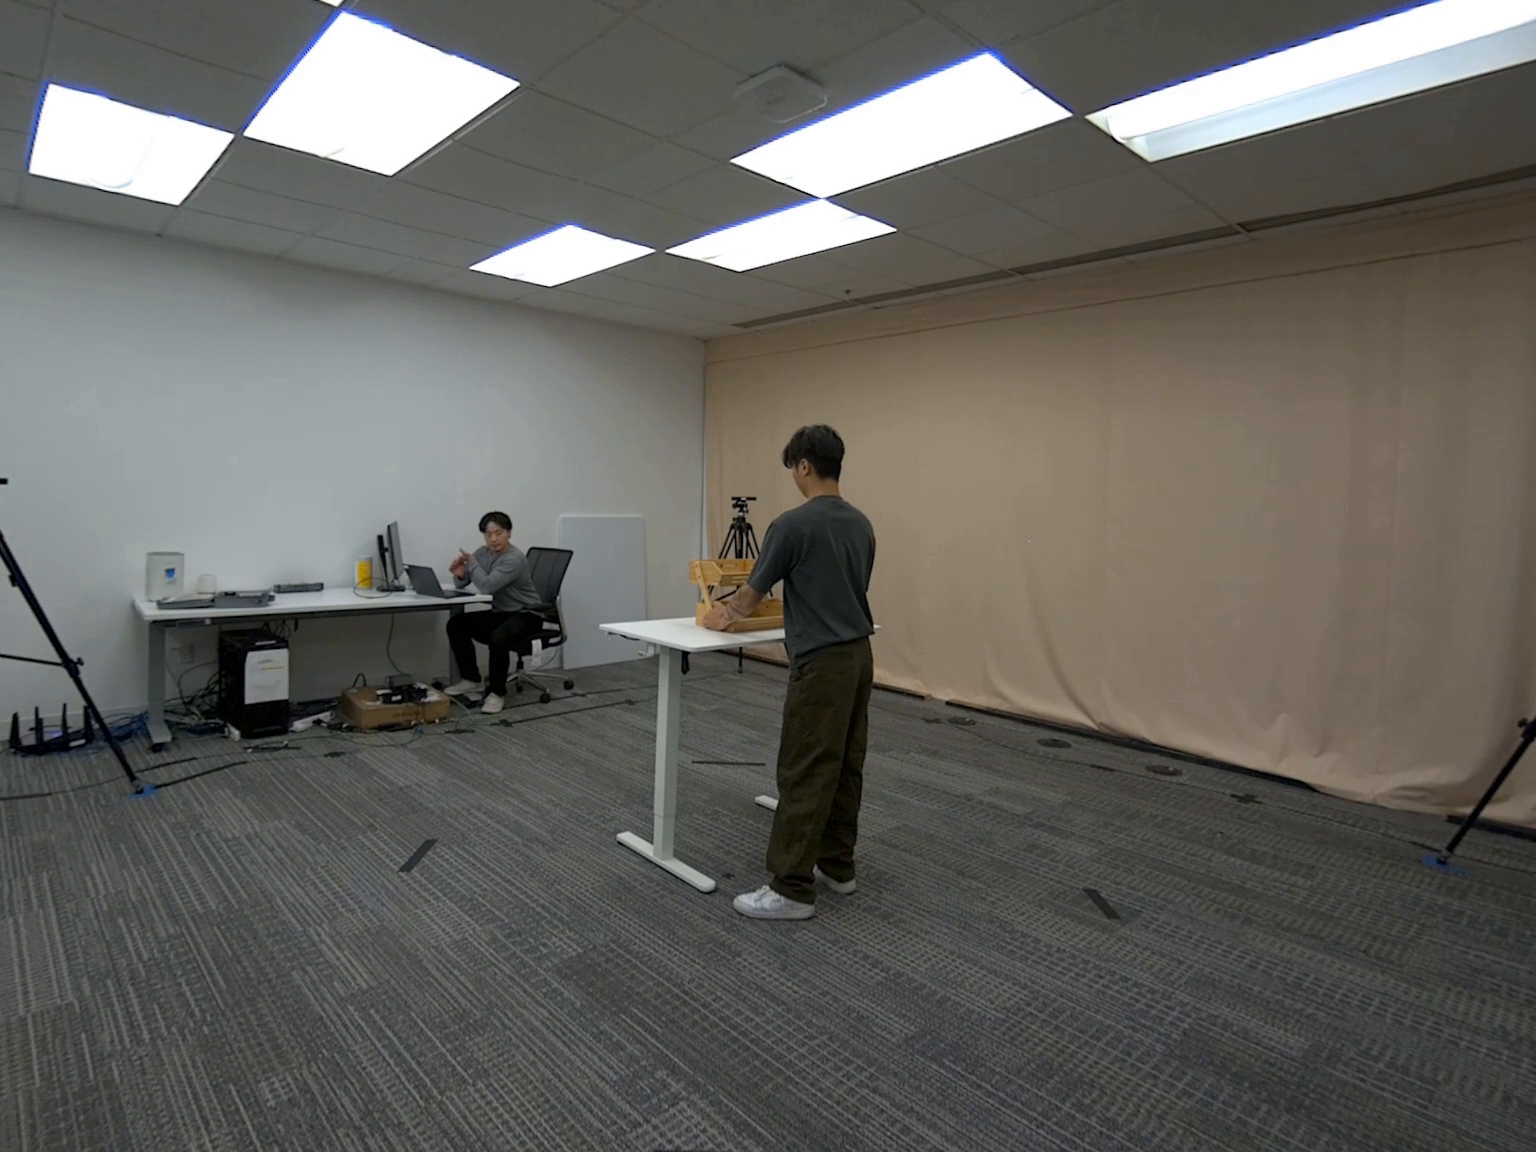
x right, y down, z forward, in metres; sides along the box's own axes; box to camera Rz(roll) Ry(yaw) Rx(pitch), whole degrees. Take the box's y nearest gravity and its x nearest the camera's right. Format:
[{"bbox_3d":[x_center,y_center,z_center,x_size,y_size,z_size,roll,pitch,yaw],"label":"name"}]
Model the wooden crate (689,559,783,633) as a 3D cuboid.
[{"bbox_3d":[-0.117,0.067,3.380,0.317,0.273,0.309,-1,3,-41],"label":"wooden crate"}]
